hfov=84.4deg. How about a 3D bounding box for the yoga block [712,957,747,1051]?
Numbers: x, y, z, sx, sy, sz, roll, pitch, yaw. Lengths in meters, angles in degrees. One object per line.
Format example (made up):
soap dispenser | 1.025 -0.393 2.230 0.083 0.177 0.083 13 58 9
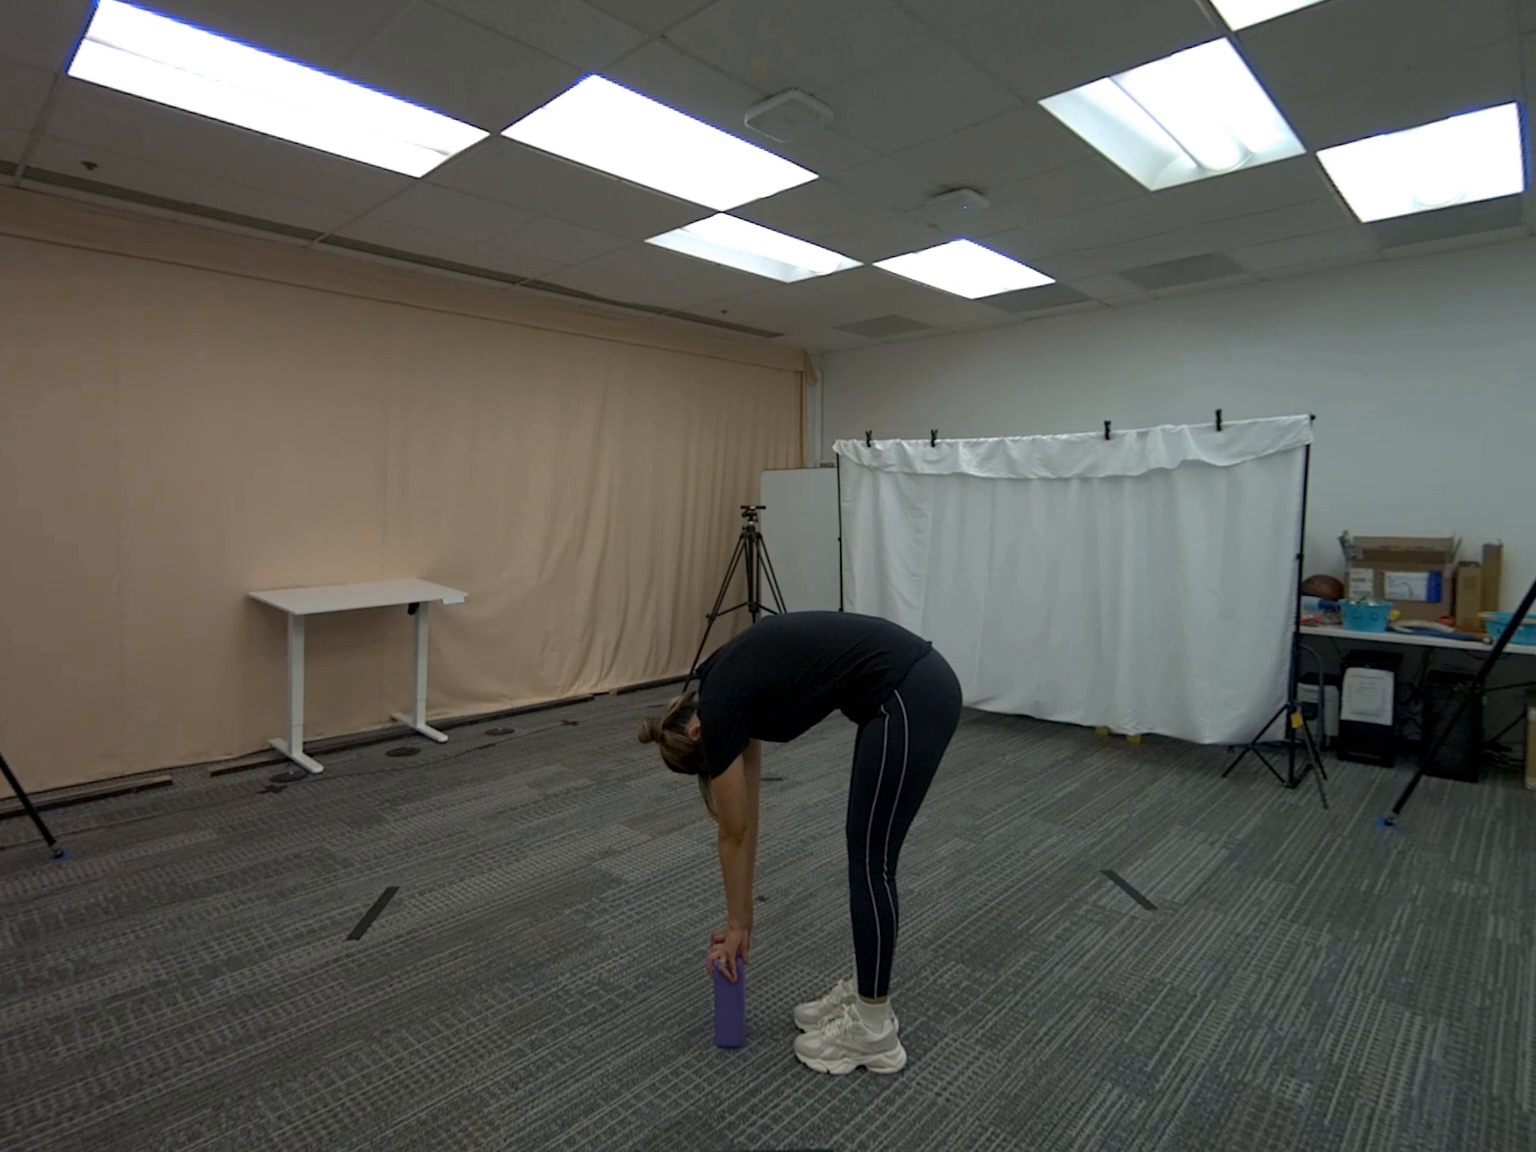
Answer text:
yoga block | -0.099 1.102 2.222 0.076 0.229 0.149 1 2 0
